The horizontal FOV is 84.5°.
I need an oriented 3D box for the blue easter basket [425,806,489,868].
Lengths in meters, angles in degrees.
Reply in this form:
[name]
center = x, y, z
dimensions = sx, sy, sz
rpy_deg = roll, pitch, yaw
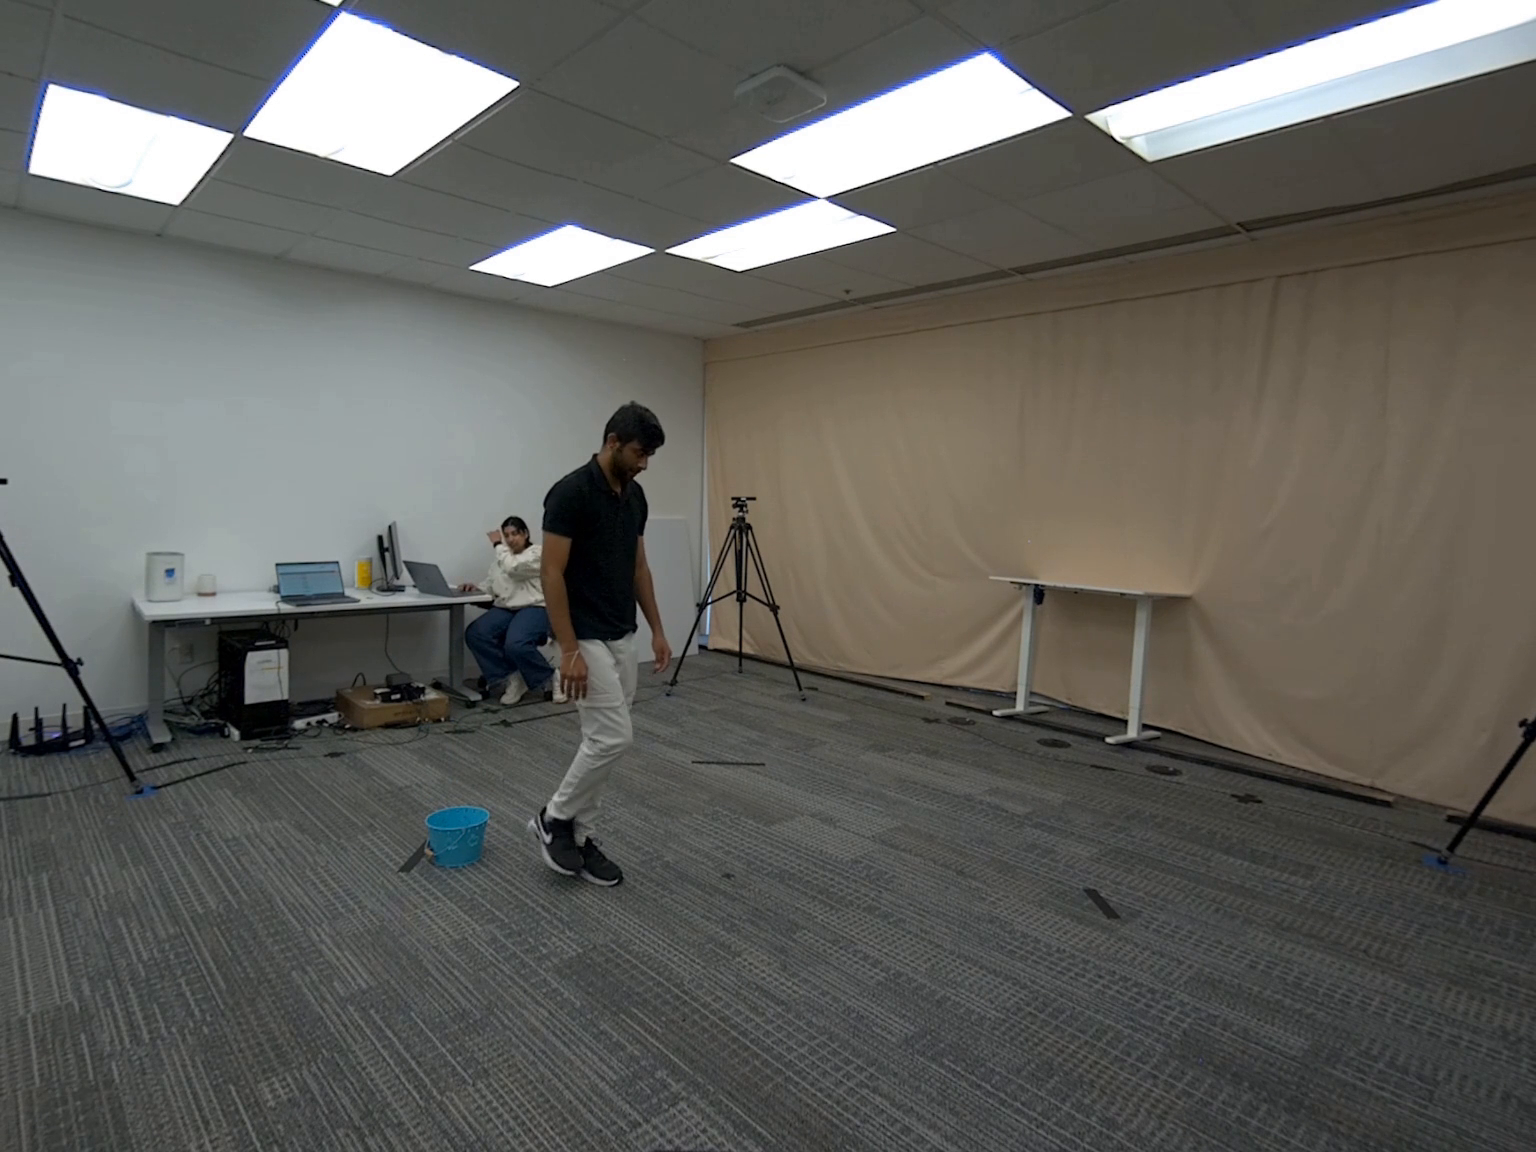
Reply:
[blue easter basket]
center = -1.192, 0.994, 3.221
dimensions = 0.243, 0.155, 0.244
rpy_deg = 2, 5, -2
